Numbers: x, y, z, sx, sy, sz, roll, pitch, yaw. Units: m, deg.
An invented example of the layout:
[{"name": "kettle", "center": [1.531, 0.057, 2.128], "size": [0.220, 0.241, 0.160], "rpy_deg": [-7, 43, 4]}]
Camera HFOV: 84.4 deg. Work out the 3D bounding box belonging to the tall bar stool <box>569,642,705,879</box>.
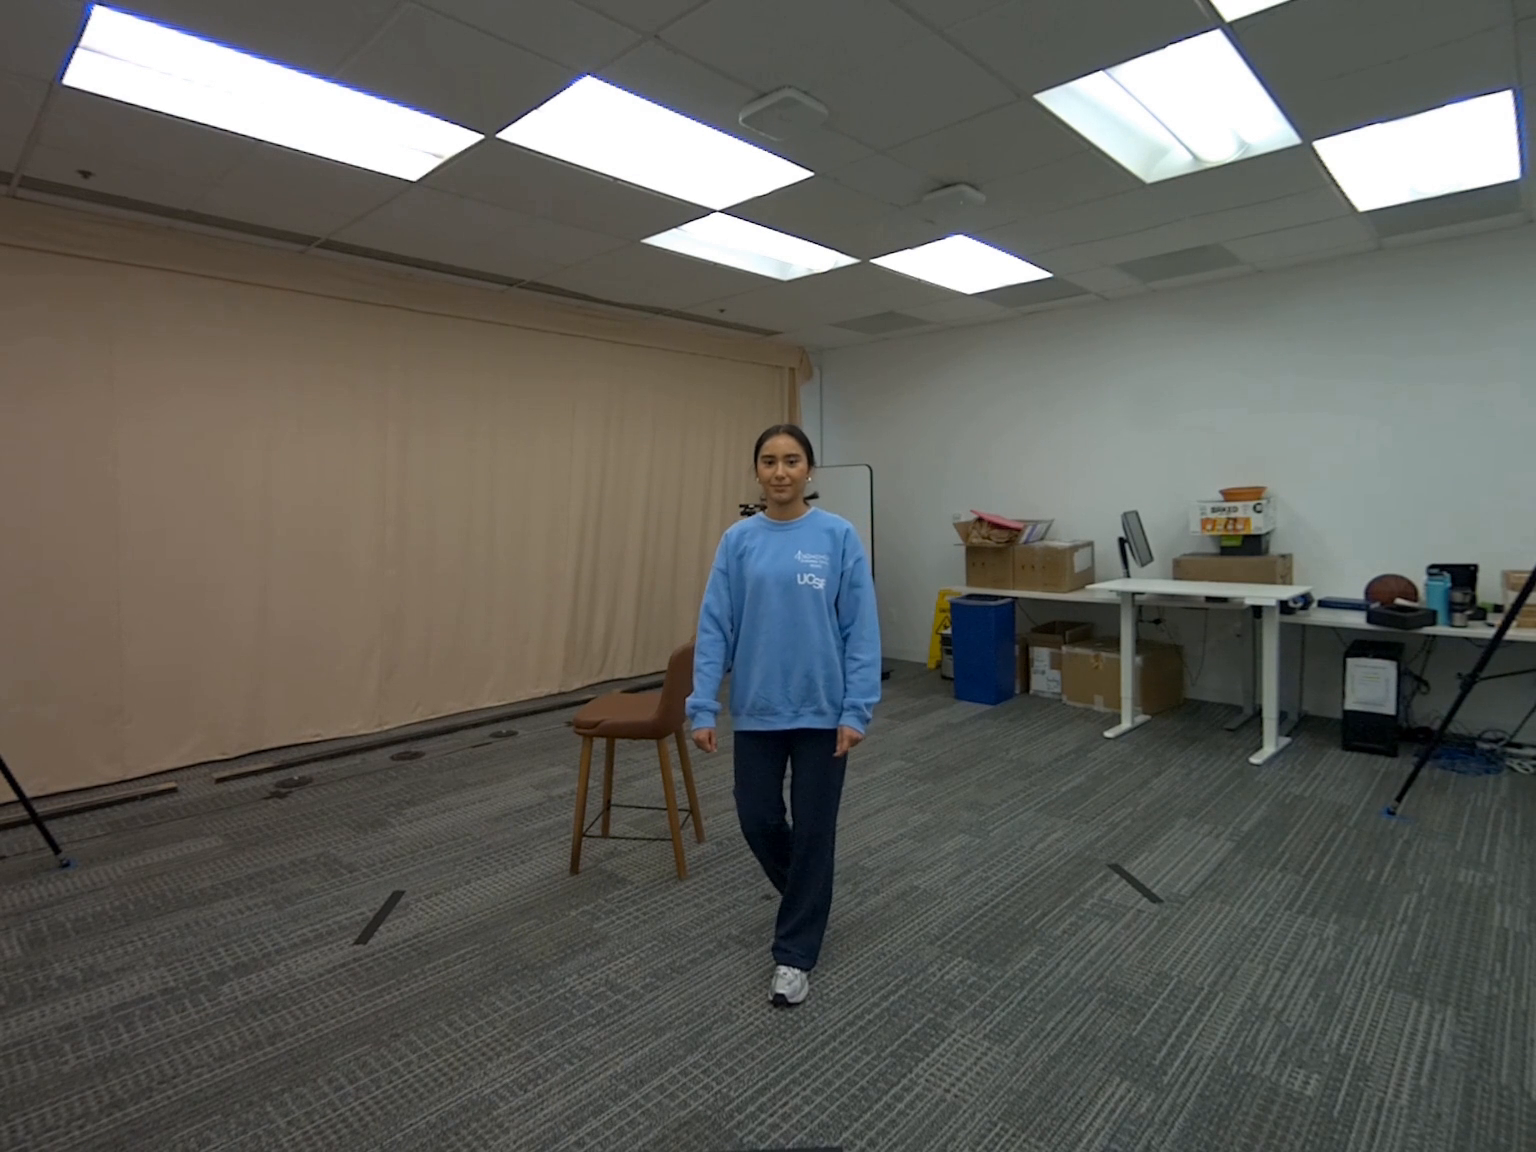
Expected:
[{"name": "tall bar stool", "center": [-0.513, 0.687, 3.335], "size": [0.473, 0.888, 0.452], "rpy_deg": [1, 4, 10]}]
